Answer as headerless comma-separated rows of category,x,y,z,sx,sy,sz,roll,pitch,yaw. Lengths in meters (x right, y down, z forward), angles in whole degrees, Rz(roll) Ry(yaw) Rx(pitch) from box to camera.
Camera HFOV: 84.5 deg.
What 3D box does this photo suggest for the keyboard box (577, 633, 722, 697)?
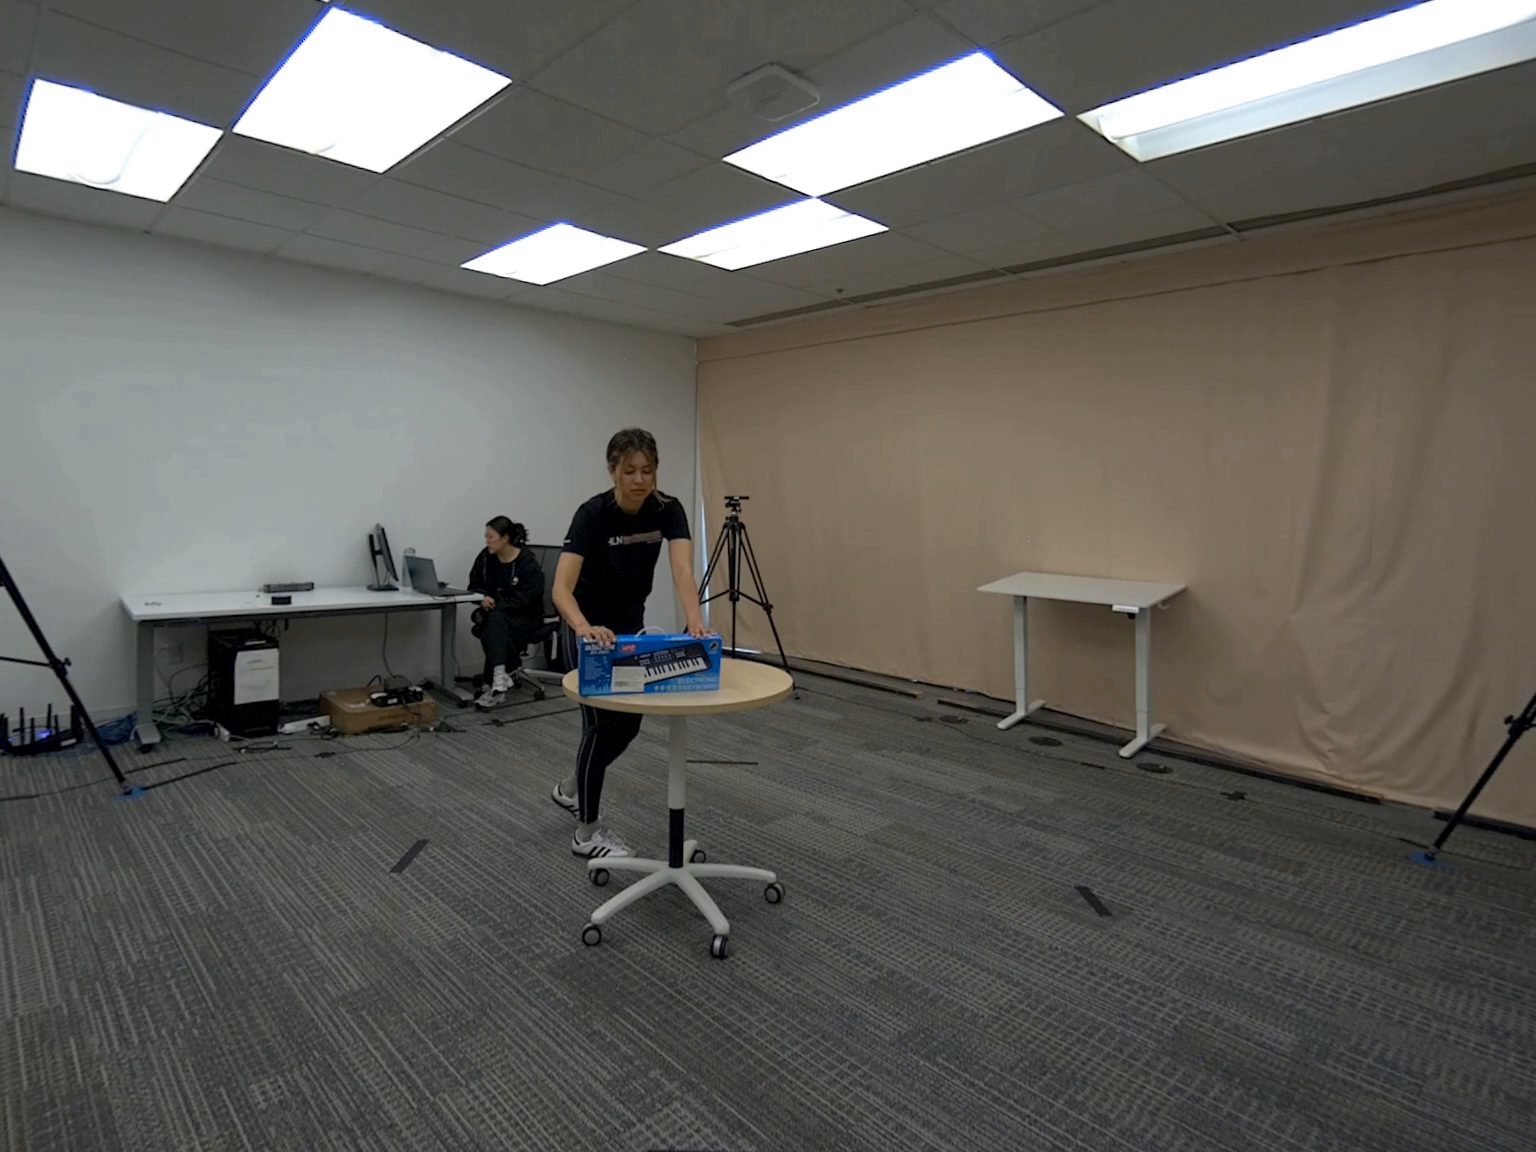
keyboard box,-0.366,0.276,2.599,0.431,0.174,0.060,0,12,-16
